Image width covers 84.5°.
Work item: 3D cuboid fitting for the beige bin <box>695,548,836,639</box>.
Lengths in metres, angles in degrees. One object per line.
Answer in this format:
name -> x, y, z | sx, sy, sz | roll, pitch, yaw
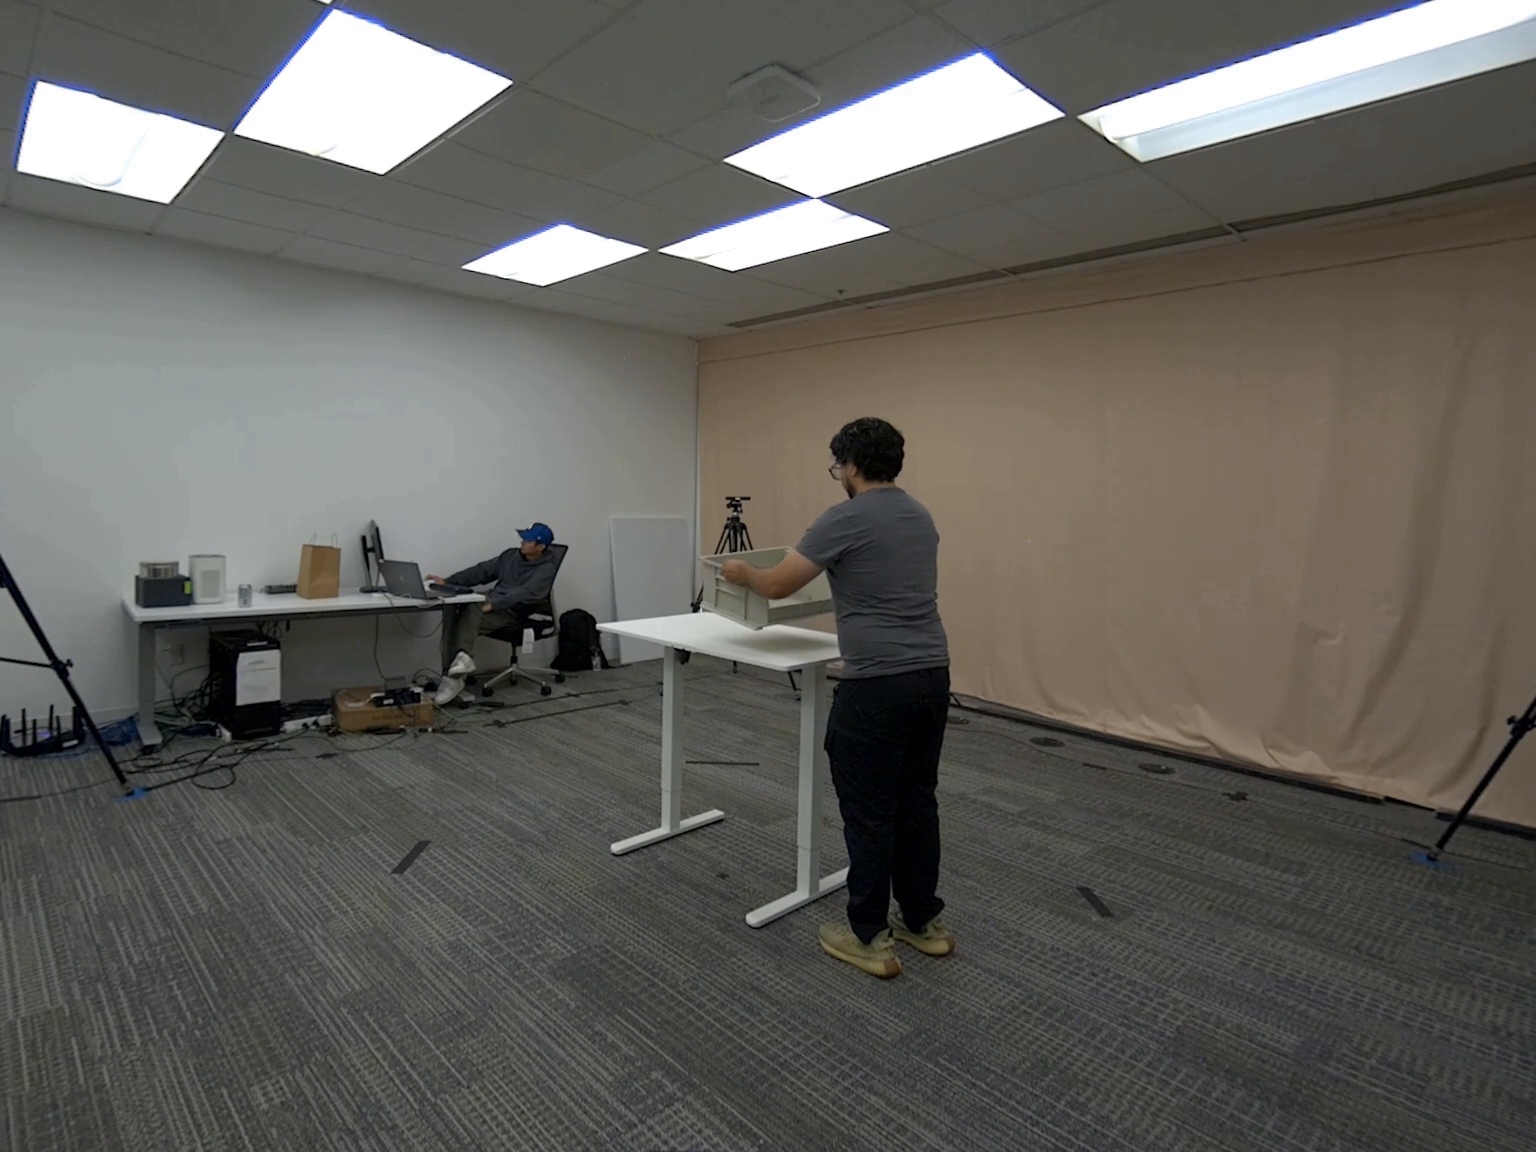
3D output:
beige bin -> 0.029, 0.046, 2.984 | 0.414, 0.187, 0.388 | -8, 16, -40
